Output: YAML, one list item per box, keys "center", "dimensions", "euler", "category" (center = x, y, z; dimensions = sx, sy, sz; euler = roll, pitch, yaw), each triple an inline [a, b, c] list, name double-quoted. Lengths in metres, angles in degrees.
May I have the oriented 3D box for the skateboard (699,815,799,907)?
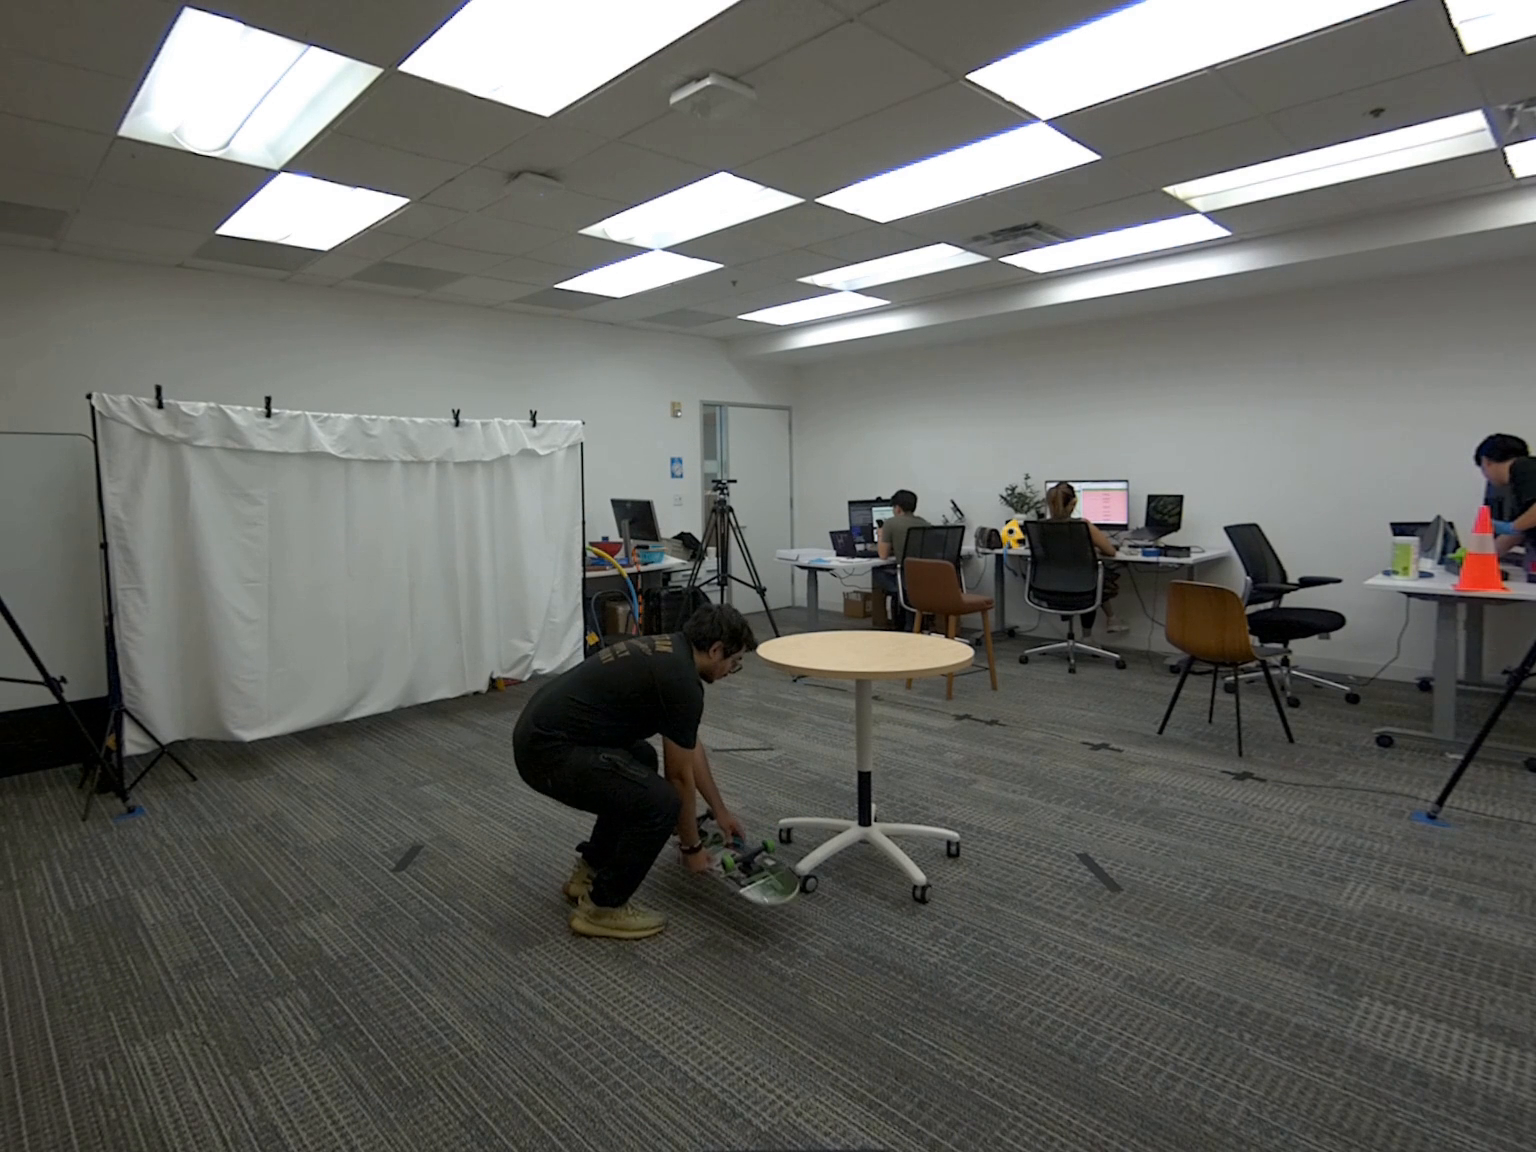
- center: [-0.158, 0.910, 2.868]
  dimensions: [0.190, 0.110, 0.804]
  euler: [-15, 8, -29]
  category: "skateboard"
